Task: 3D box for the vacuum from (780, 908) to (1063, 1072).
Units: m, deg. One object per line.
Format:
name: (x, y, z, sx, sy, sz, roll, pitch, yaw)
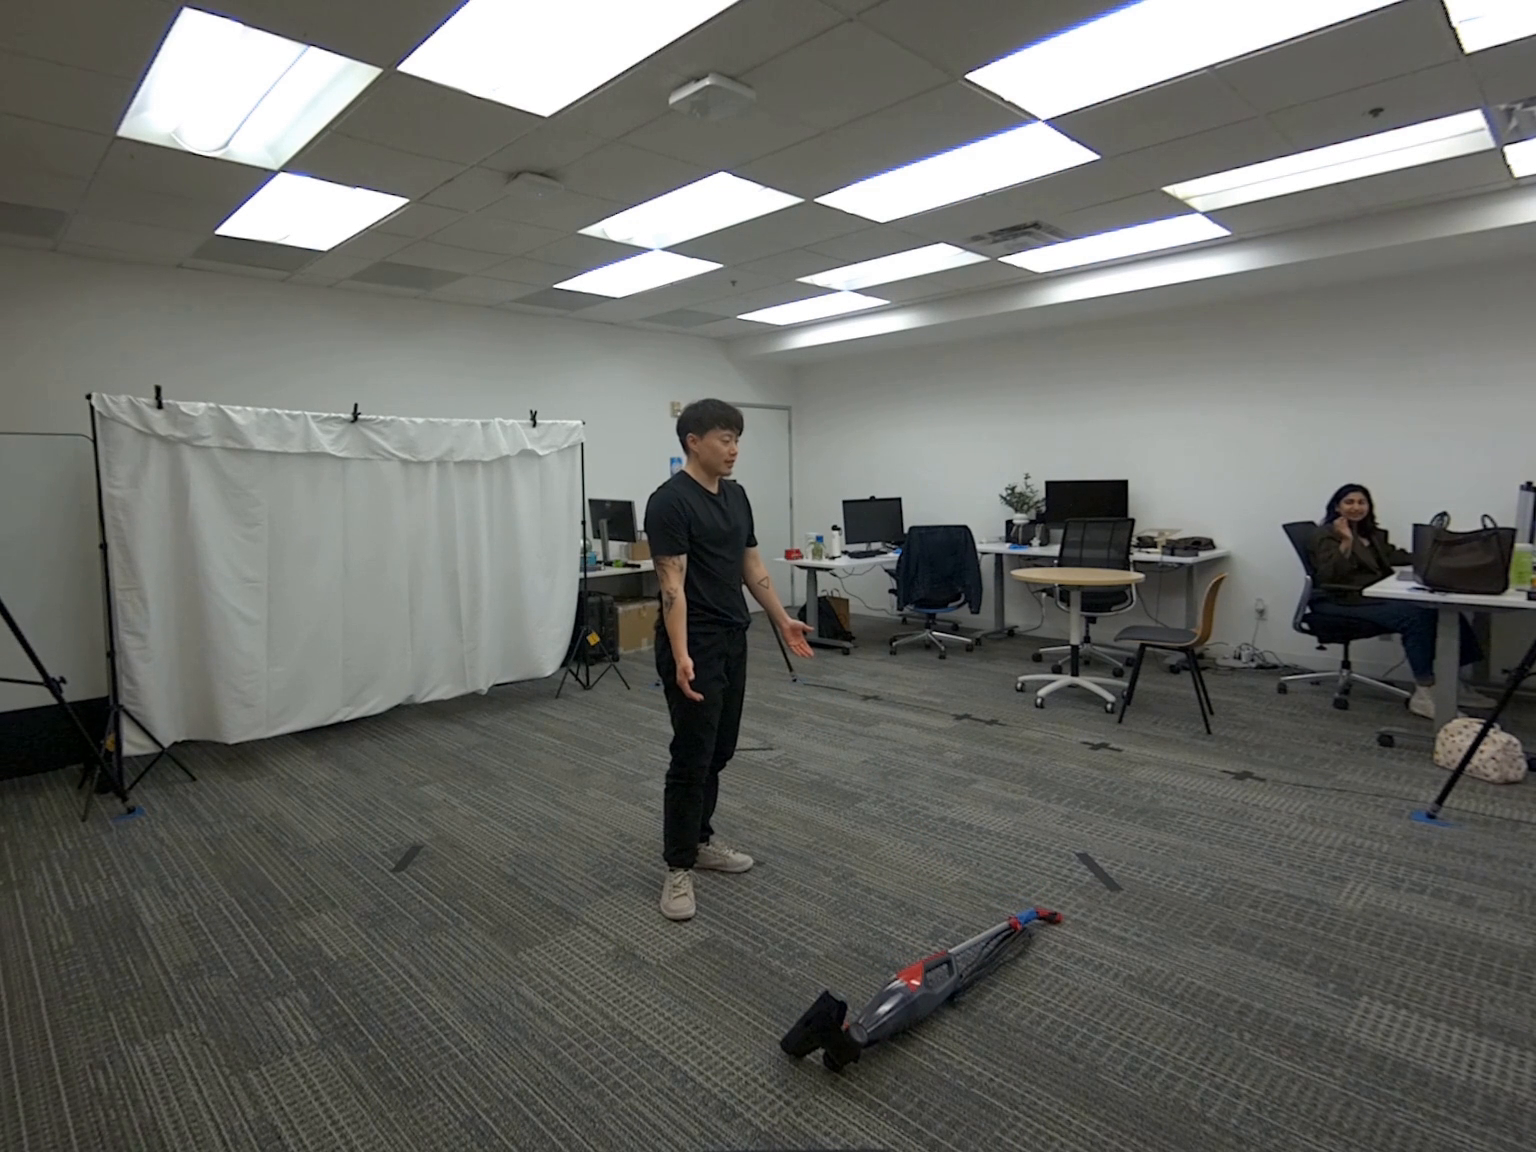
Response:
vacuum: (0.521, 1.076, 2.332, 1.019, 0.250, 0.149, -1, 41, -41)
